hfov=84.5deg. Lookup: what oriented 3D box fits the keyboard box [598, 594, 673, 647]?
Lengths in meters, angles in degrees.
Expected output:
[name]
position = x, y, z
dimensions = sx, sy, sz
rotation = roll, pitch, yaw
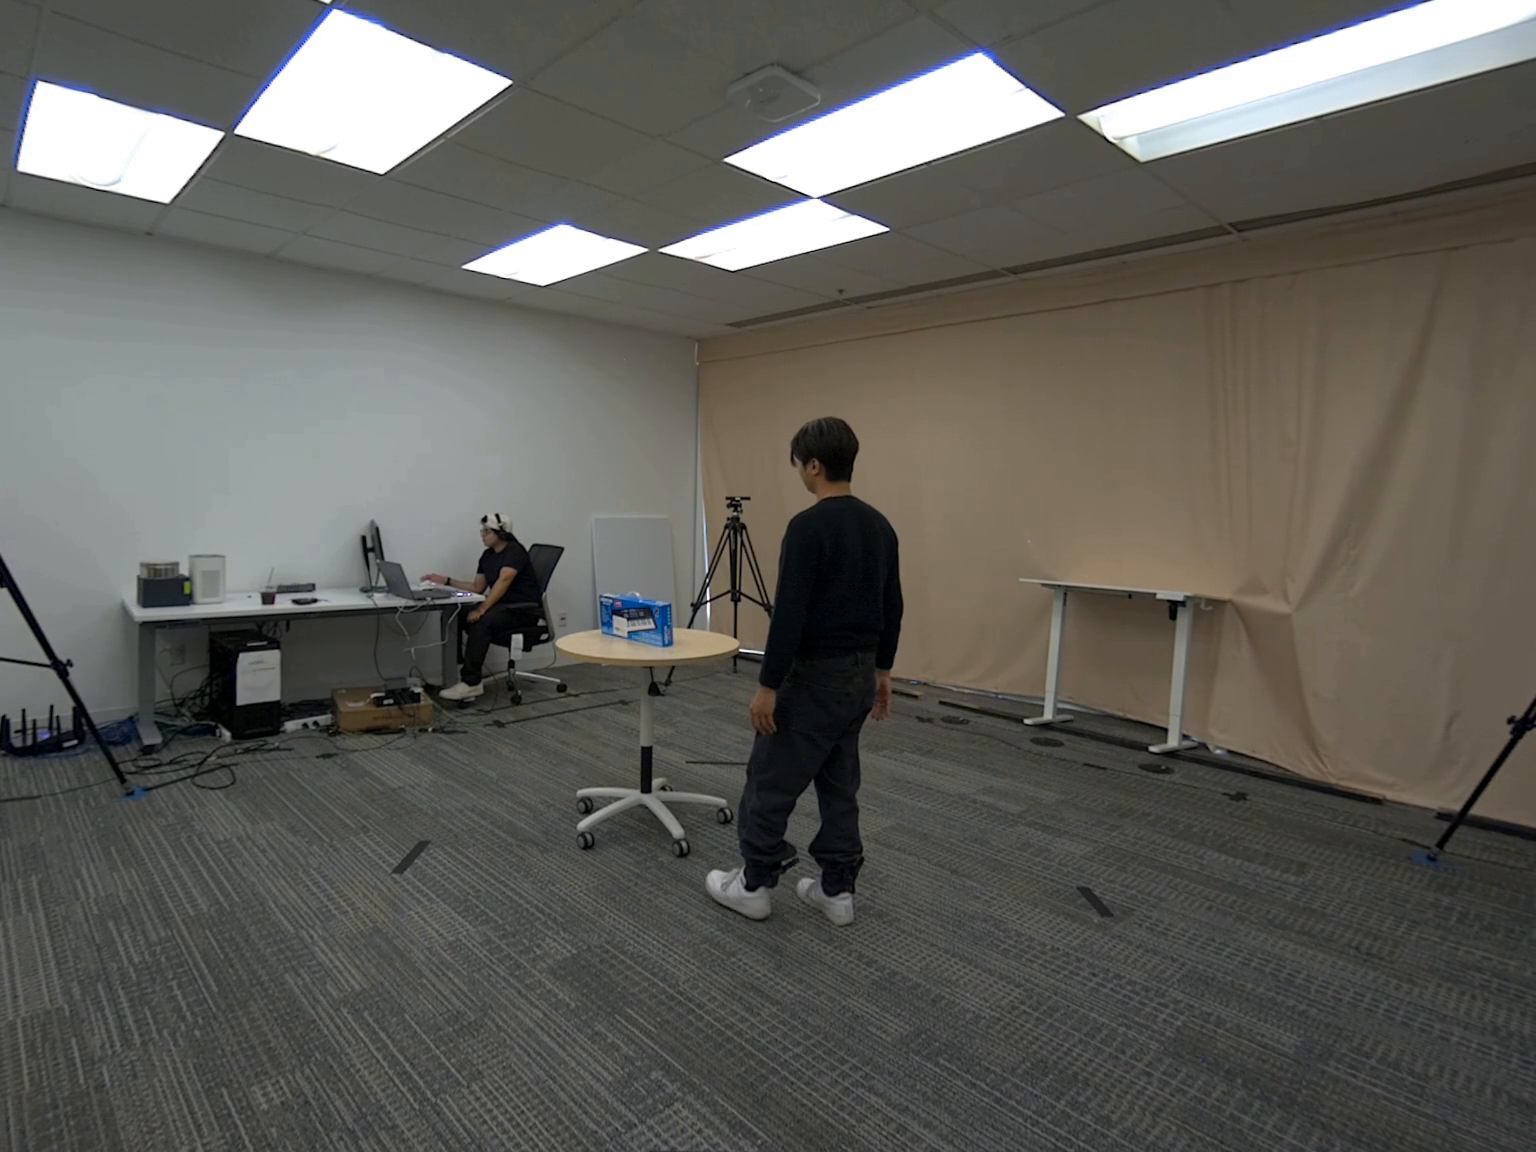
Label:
[keyboard box]
position = -0.574, 0.185, 3.582
dimensions = 0.058, 0.175, 0.448
rotation = -8, 10, -44
